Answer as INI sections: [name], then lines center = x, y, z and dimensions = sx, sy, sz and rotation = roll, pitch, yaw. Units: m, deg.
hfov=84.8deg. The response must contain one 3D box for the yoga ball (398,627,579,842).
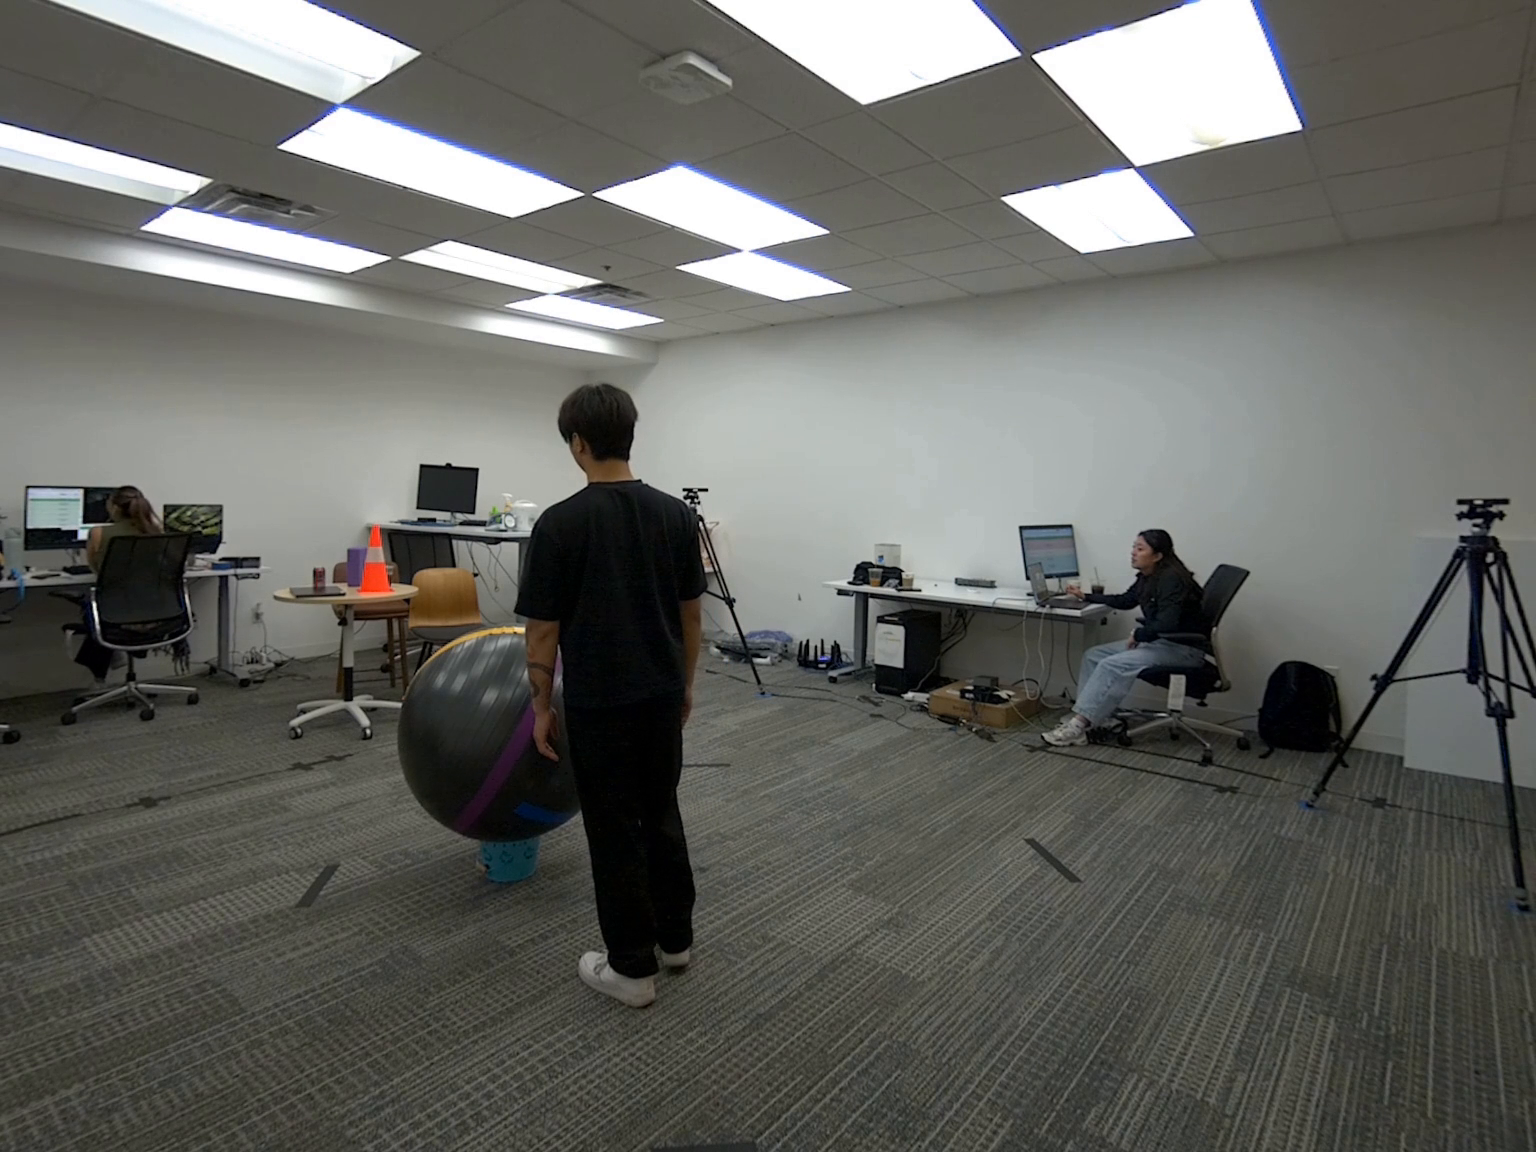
[yoga ball]
center = -0.935, 0.553, 3.044
dimensions = 0.757, 0.755, 0.762
rotation = 1, 4, -2
